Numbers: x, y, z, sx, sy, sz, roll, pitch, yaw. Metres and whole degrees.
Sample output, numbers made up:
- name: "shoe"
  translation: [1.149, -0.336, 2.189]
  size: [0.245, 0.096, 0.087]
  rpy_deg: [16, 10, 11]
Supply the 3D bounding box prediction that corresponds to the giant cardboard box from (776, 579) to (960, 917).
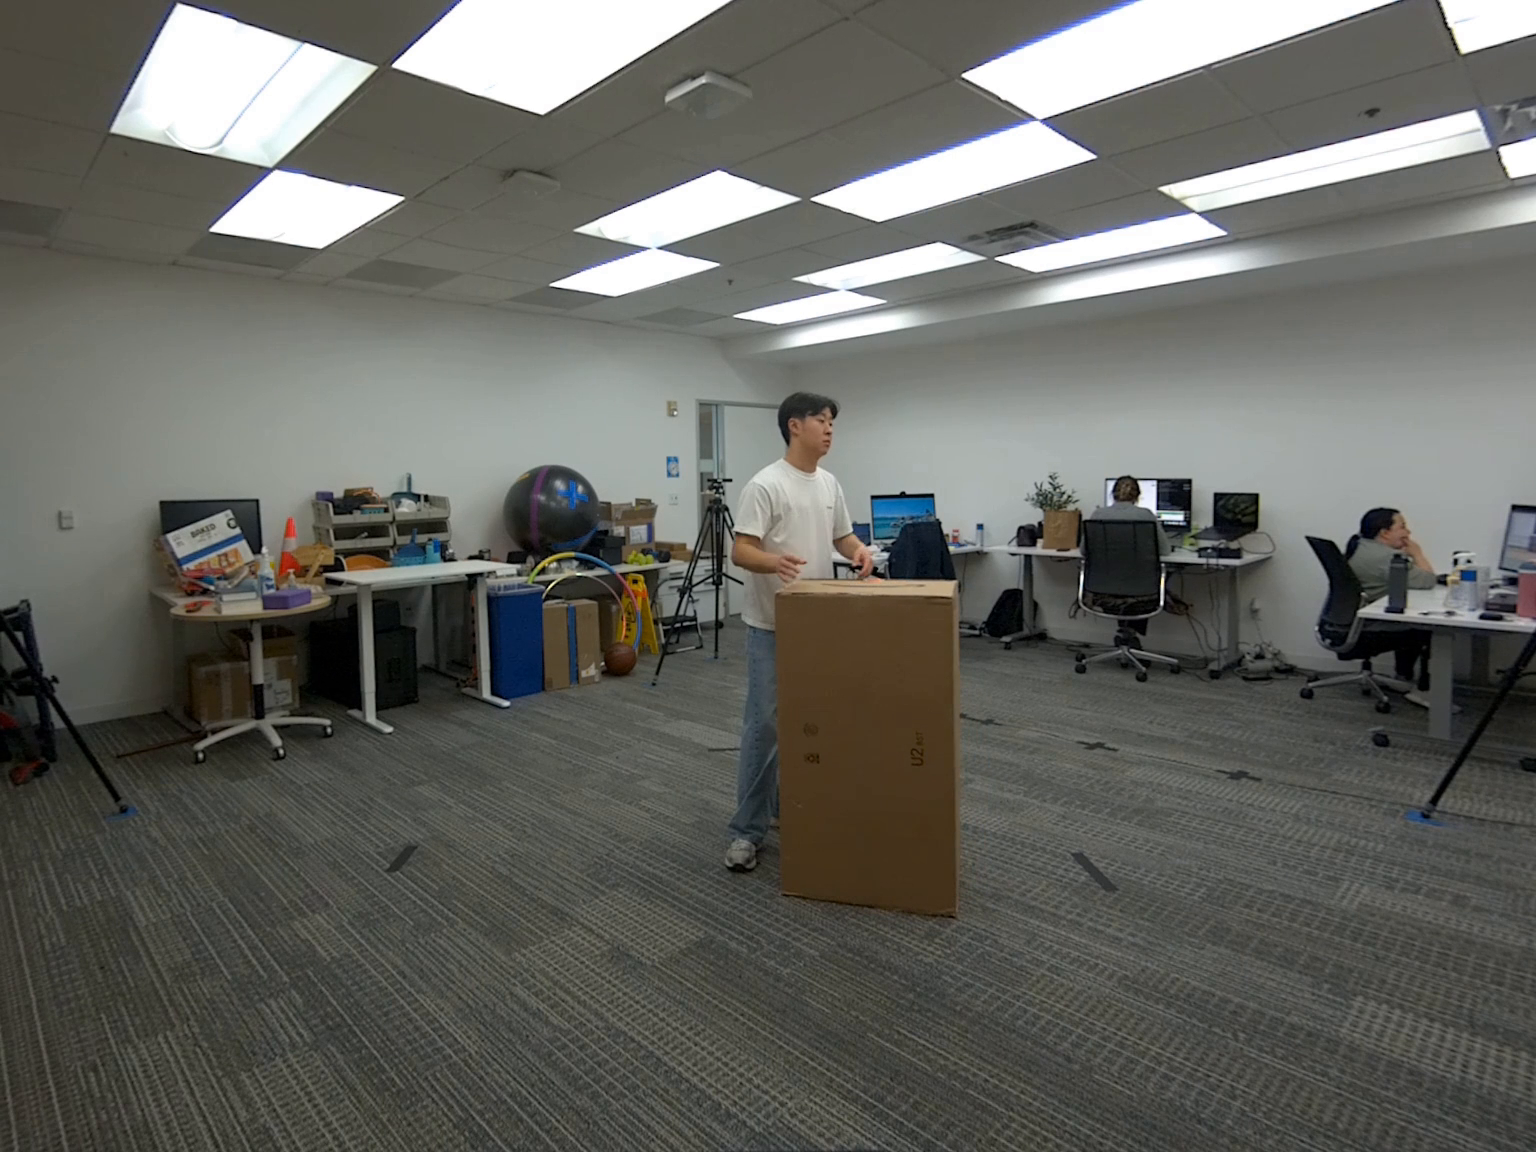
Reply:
- name: "giant cardboard box"
  translation: [0.365, 0.544, 2.943]
  size: [0.587, 1.022, 0.420]
  rpy_deg: [-1, 4, 17]
